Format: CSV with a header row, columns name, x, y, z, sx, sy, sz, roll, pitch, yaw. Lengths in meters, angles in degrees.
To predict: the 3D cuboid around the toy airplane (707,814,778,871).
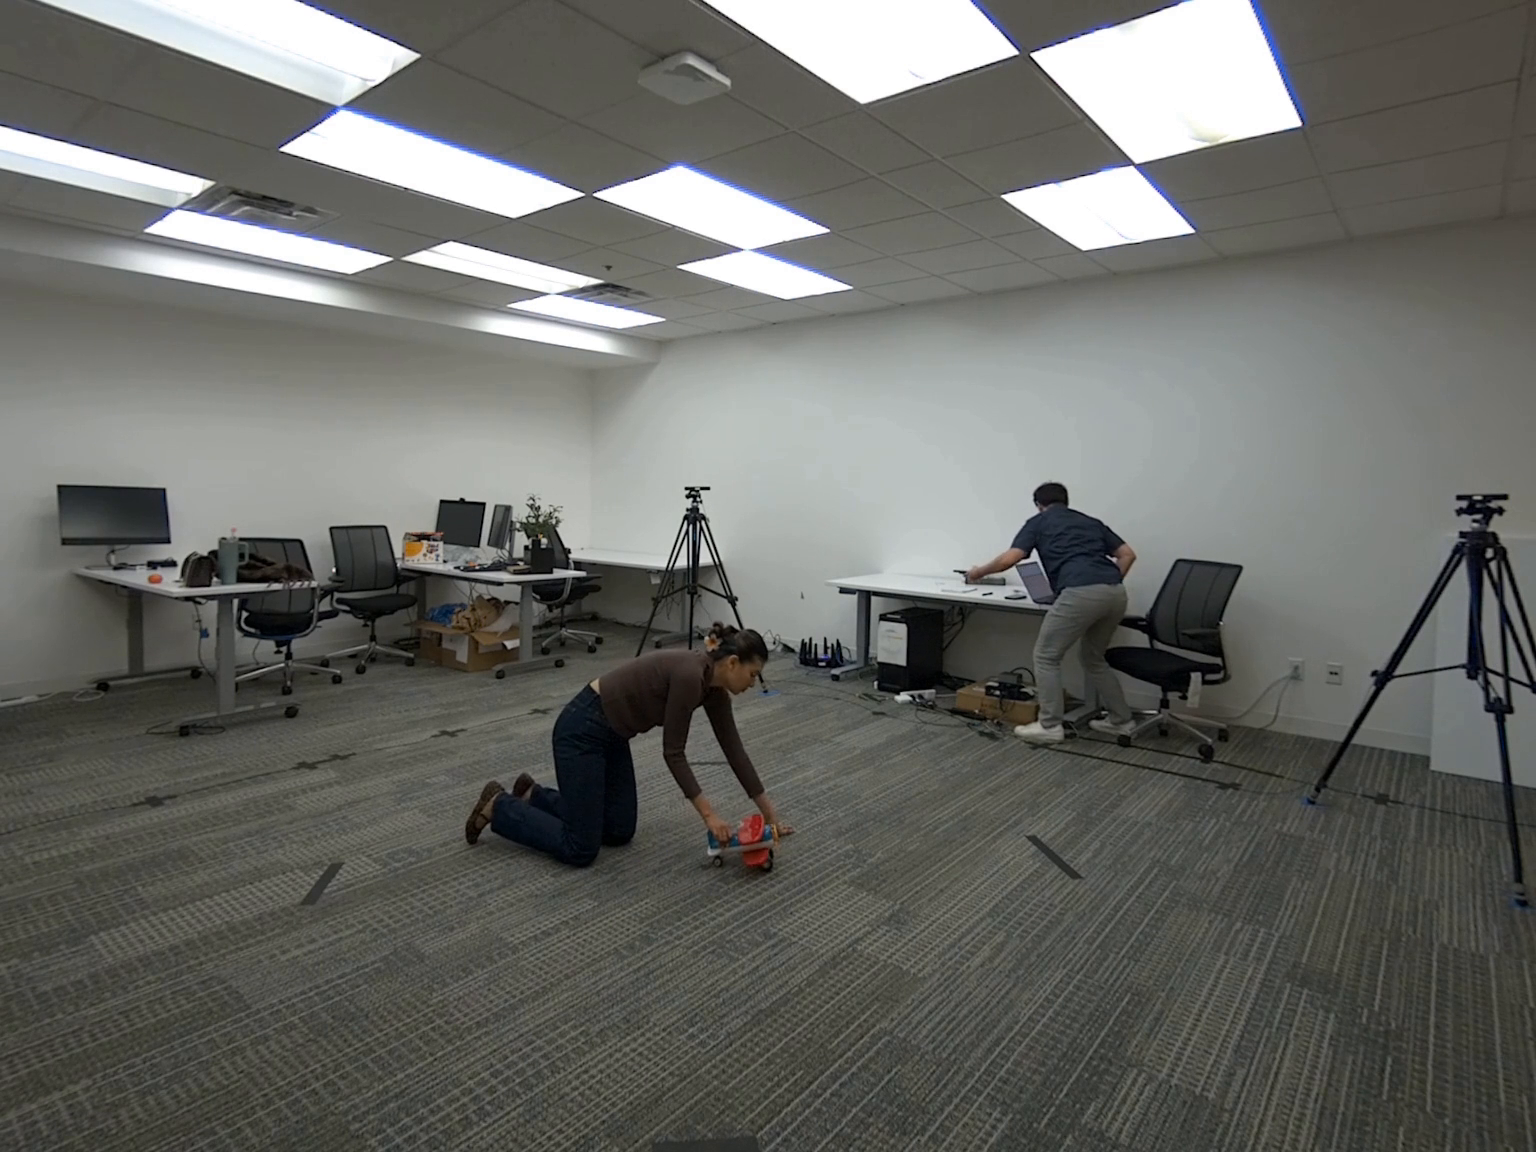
name,x,y,z,sx,sy,sz,roll,pitch,yaw
toy airplane,-0.102,1.002,3.124,0.253,0.156,0.258,-4,5,-25
